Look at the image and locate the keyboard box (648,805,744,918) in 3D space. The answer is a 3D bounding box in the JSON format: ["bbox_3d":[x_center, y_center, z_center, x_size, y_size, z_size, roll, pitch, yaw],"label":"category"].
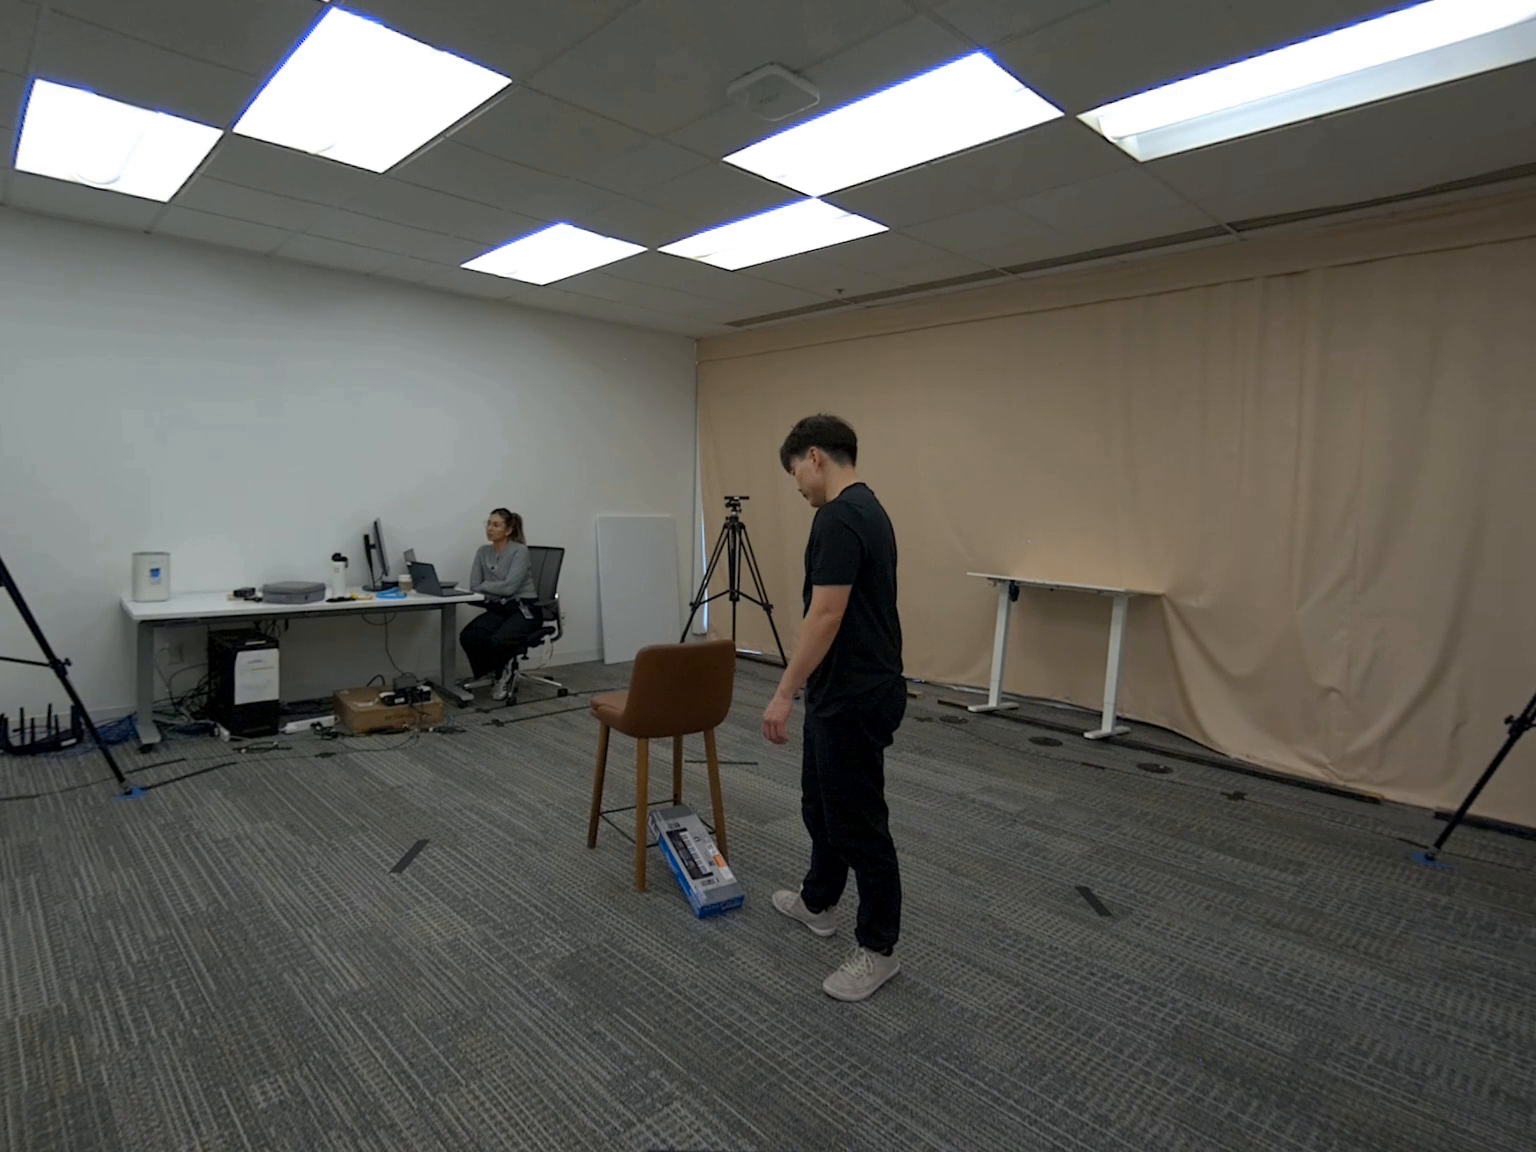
[{"bbox_3d":[-0.262,1.000,2.970,0.172,0.058,0.451,-2,31,-32],"label":"keyboard box"}]
